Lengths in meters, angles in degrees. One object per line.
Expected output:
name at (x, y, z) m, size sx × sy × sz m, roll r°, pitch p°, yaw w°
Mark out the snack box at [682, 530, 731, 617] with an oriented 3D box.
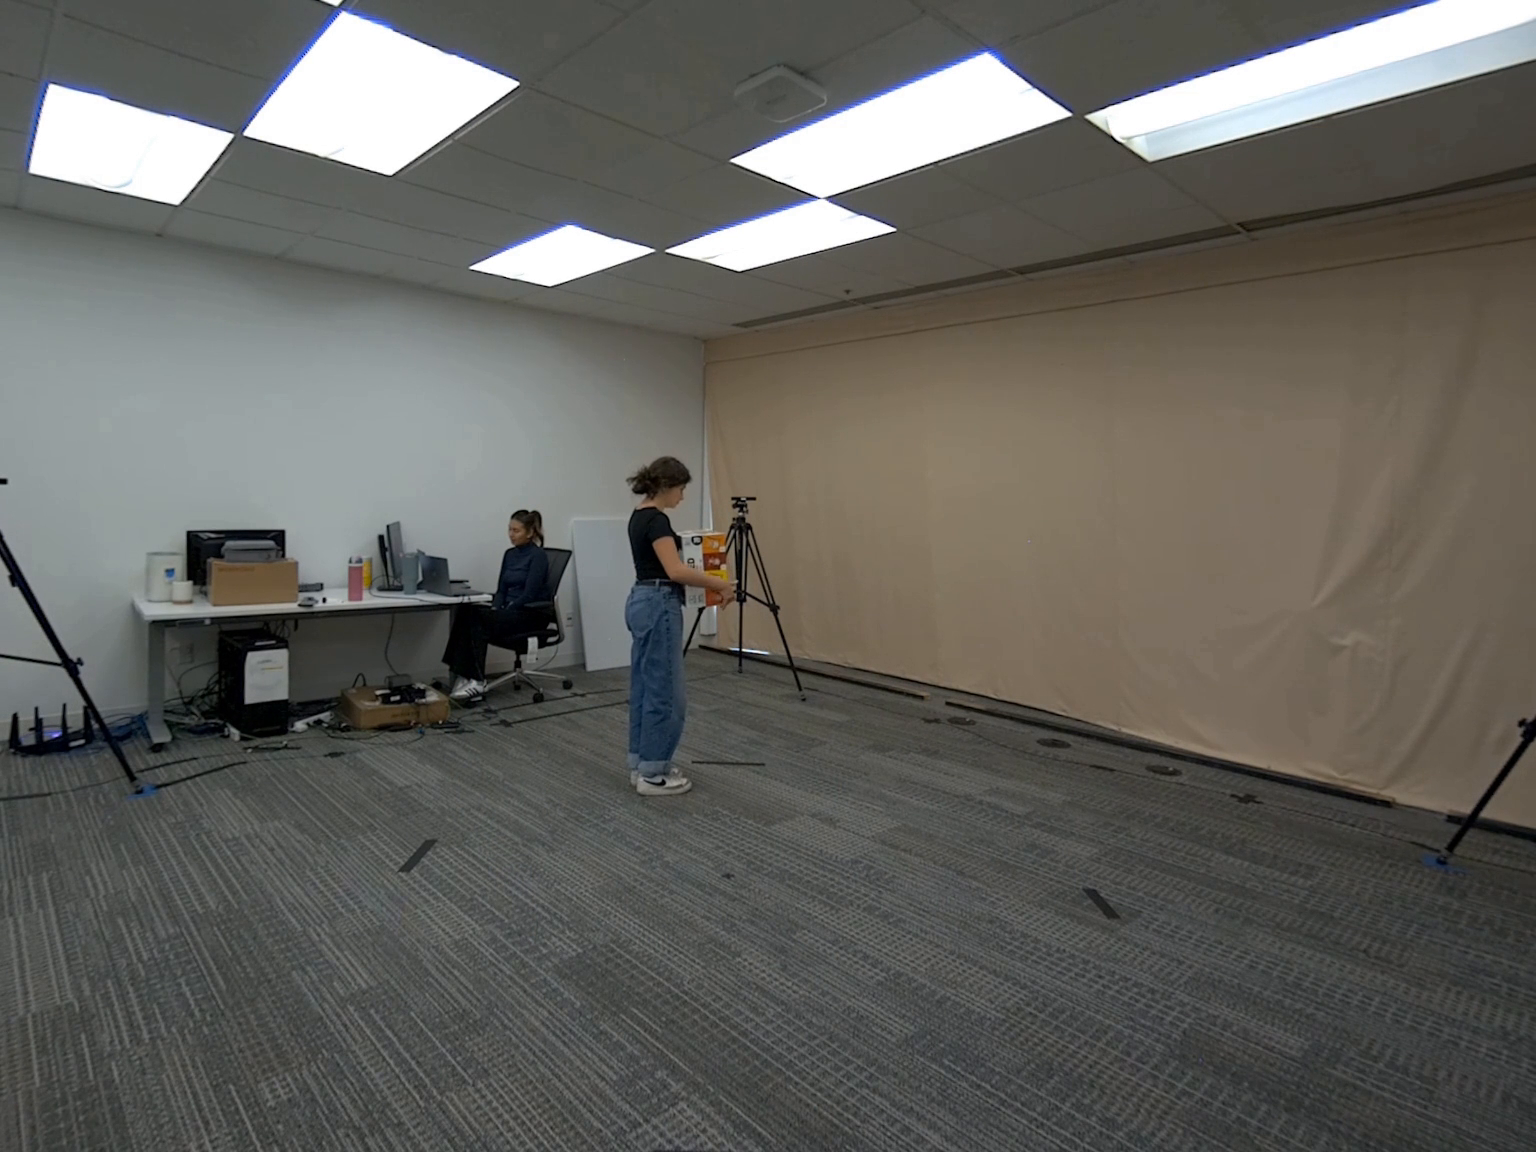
snack box at (-0.352, -0.049, 4.128) m, size 0.204 × 0.339 × 0.410 m, roll -3°, pitch 6°, yaw -13°
